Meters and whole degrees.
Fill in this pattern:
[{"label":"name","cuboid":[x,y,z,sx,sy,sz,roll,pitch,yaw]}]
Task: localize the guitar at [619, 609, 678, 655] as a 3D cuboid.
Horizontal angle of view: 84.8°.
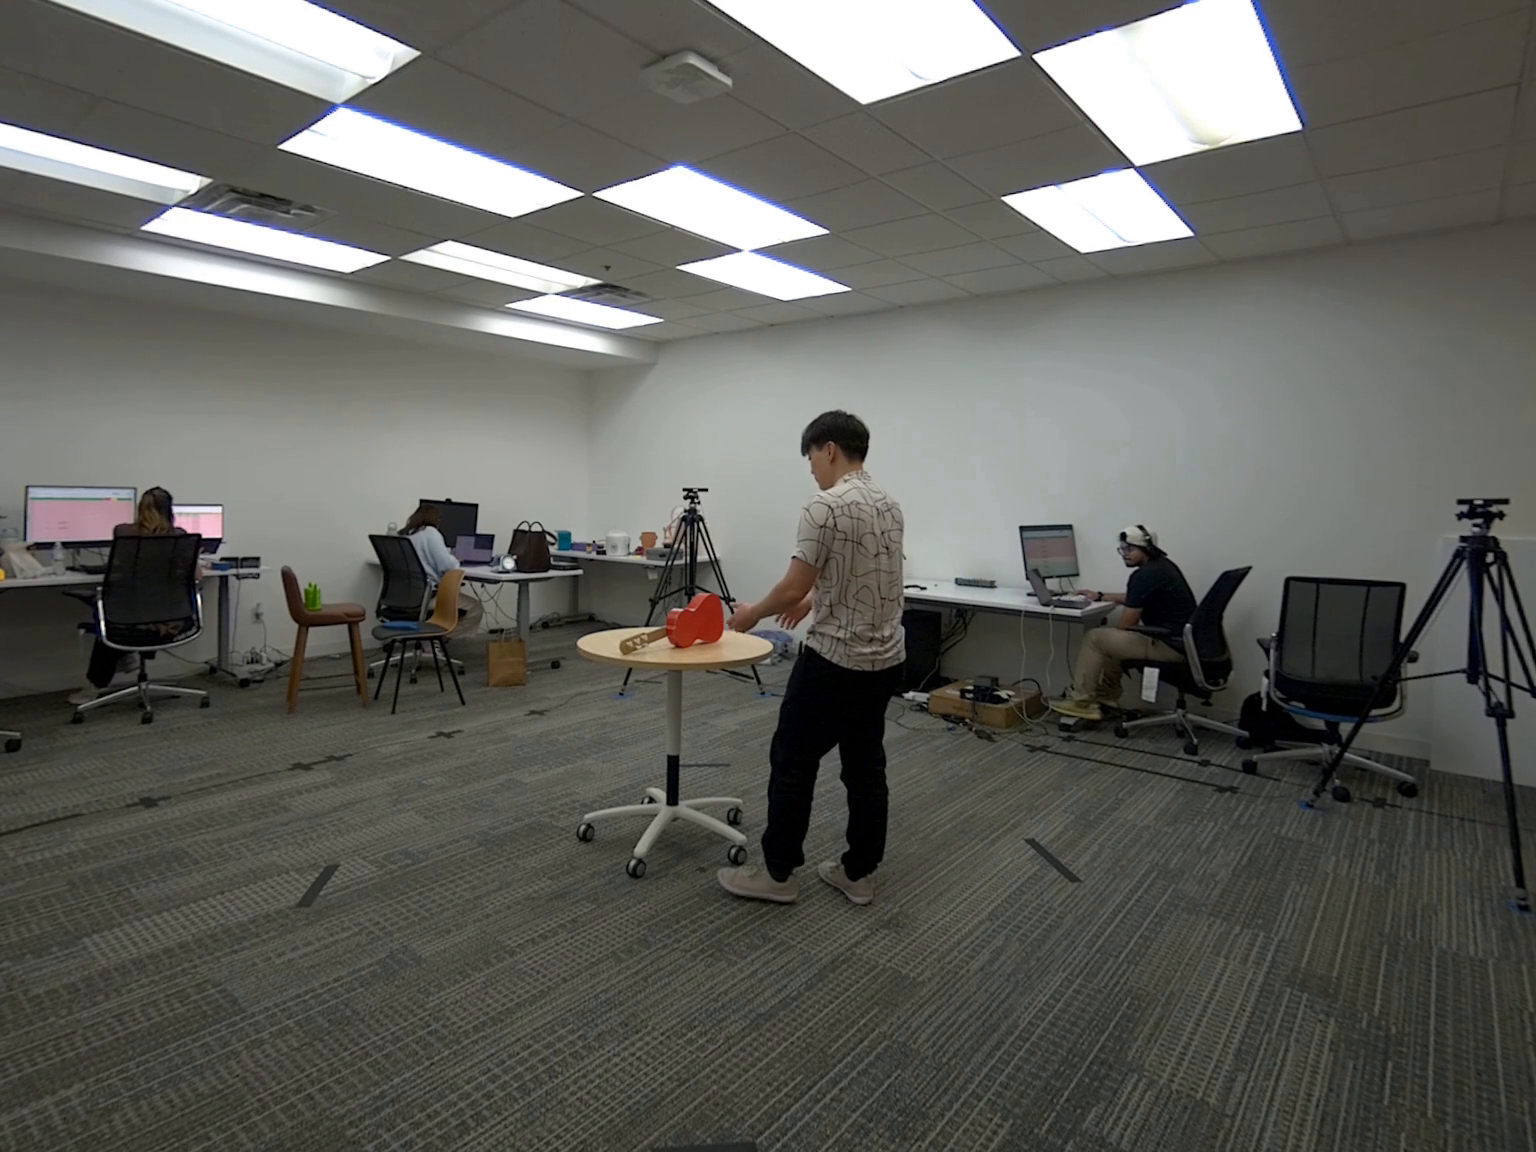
[{"label":"guitar","cuboid":[-0.357,0.230,3.237,0.073,0.189,0.491,4,25,40]}]
